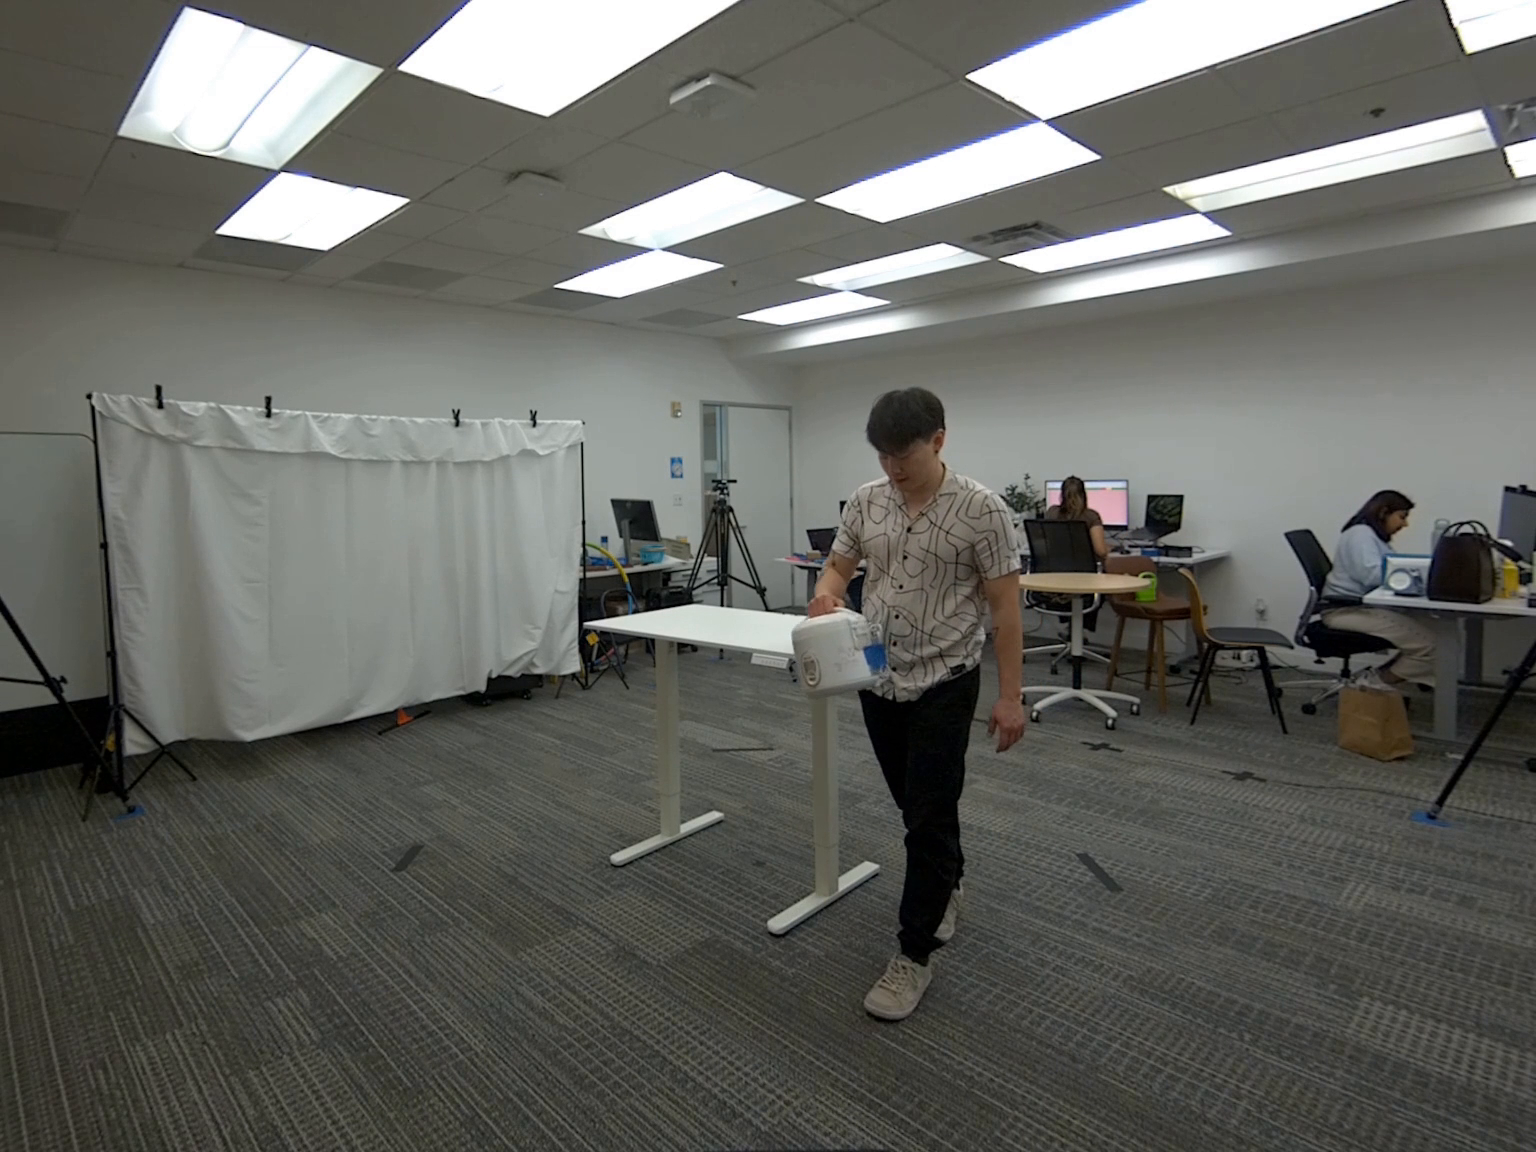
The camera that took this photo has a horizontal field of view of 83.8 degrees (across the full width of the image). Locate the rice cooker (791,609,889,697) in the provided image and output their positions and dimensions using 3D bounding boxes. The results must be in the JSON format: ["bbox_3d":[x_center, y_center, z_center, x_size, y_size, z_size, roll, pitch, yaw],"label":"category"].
[{"bbox_3d":[0.184,0.201,2.279,0.211,0.235,0.224,-1,-14,-45],"label":"rice cooker"}]
